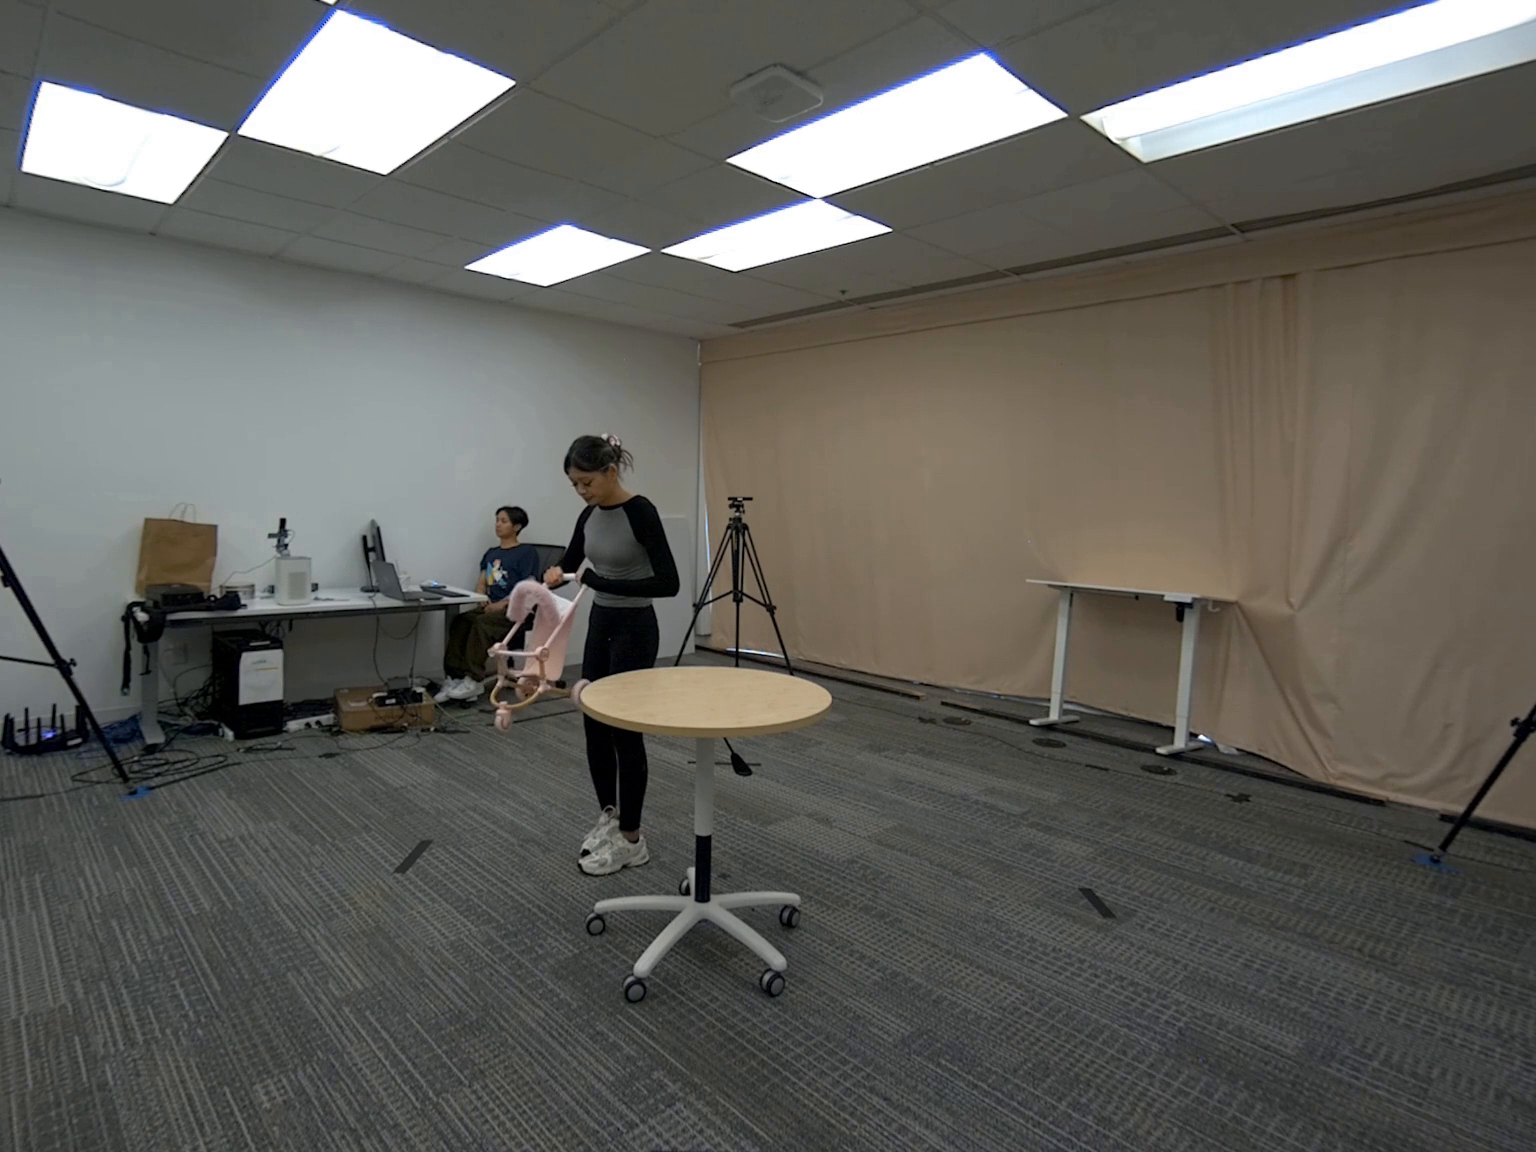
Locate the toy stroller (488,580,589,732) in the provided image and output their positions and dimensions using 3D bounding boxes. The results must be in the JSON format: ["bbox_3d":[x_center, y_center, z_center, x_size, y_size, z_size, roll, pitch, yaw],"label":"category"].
[{"bbox_3d":[-0.802,0.258,2.871,0.288,0.535,0.333,2,-1,32],"label":"toy stroller"}]
